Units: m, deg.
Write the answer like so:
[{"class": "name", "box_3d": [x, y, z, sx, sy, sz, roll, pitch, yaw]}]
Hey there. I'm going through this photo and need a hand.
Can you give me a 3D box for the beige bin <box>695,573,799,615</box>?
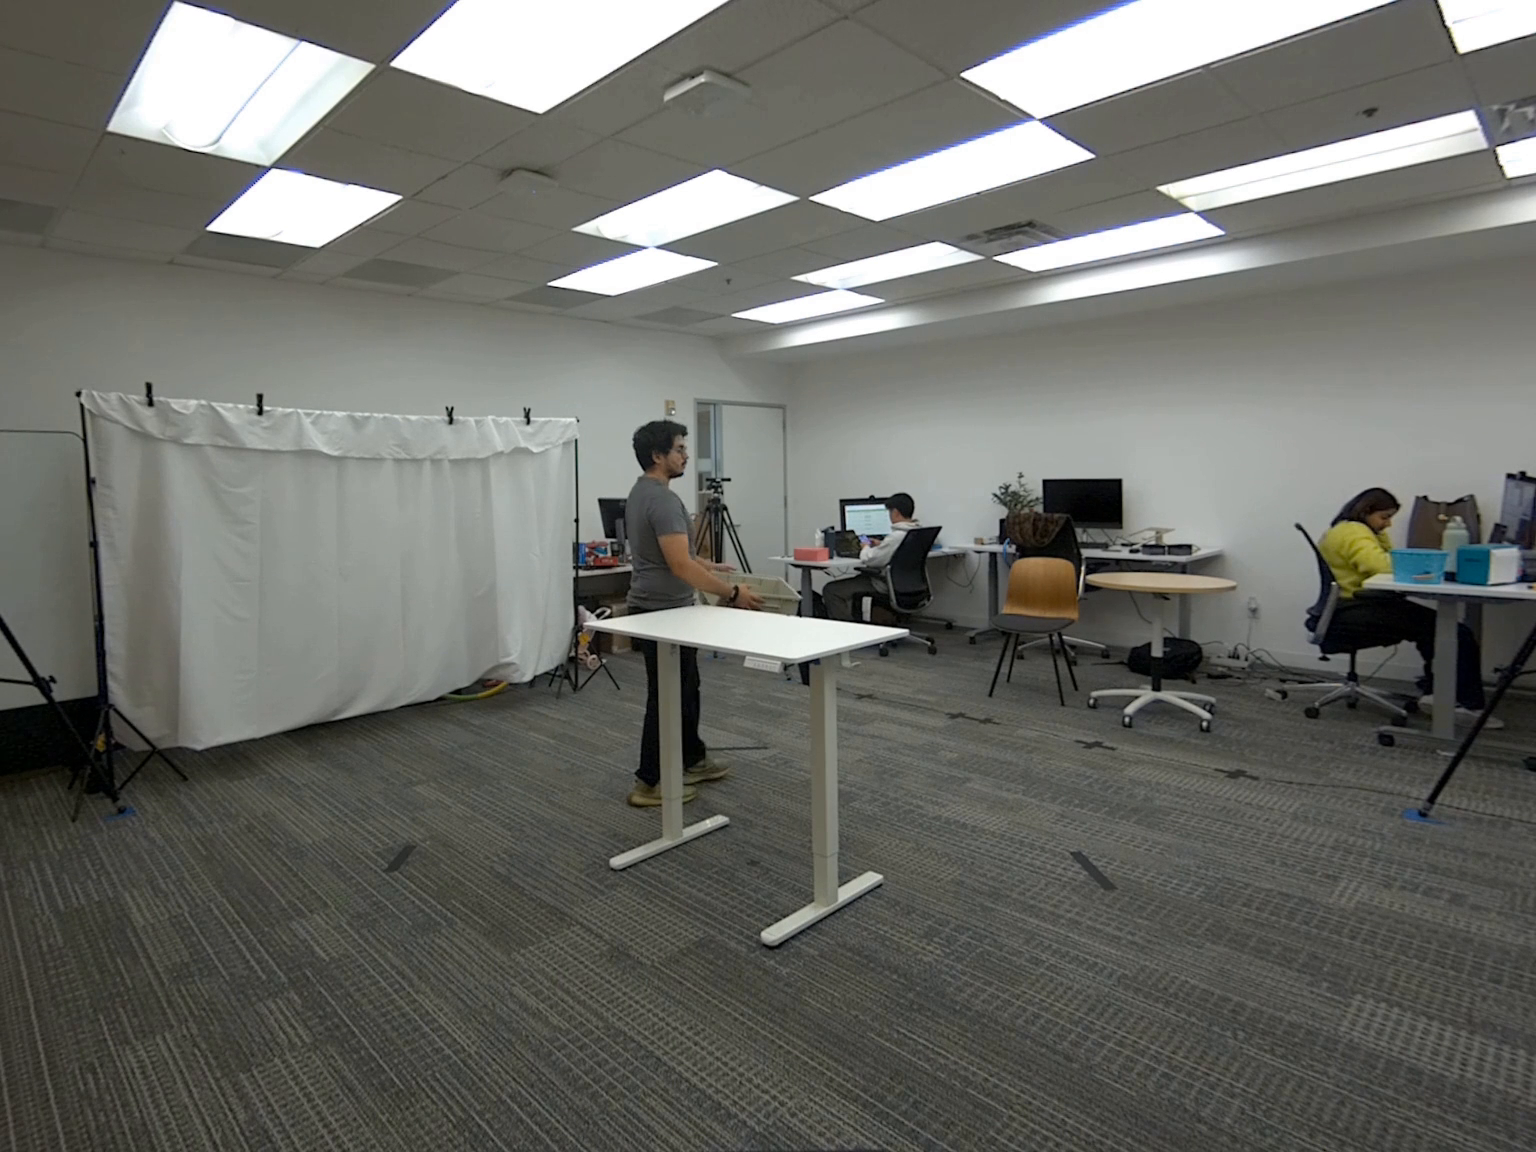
[{"class": "beige bin", "box_3d": [-0.091, 0.115, 3.789, 0.373, 0.188, 0.430, 7, 9, -12]}]
